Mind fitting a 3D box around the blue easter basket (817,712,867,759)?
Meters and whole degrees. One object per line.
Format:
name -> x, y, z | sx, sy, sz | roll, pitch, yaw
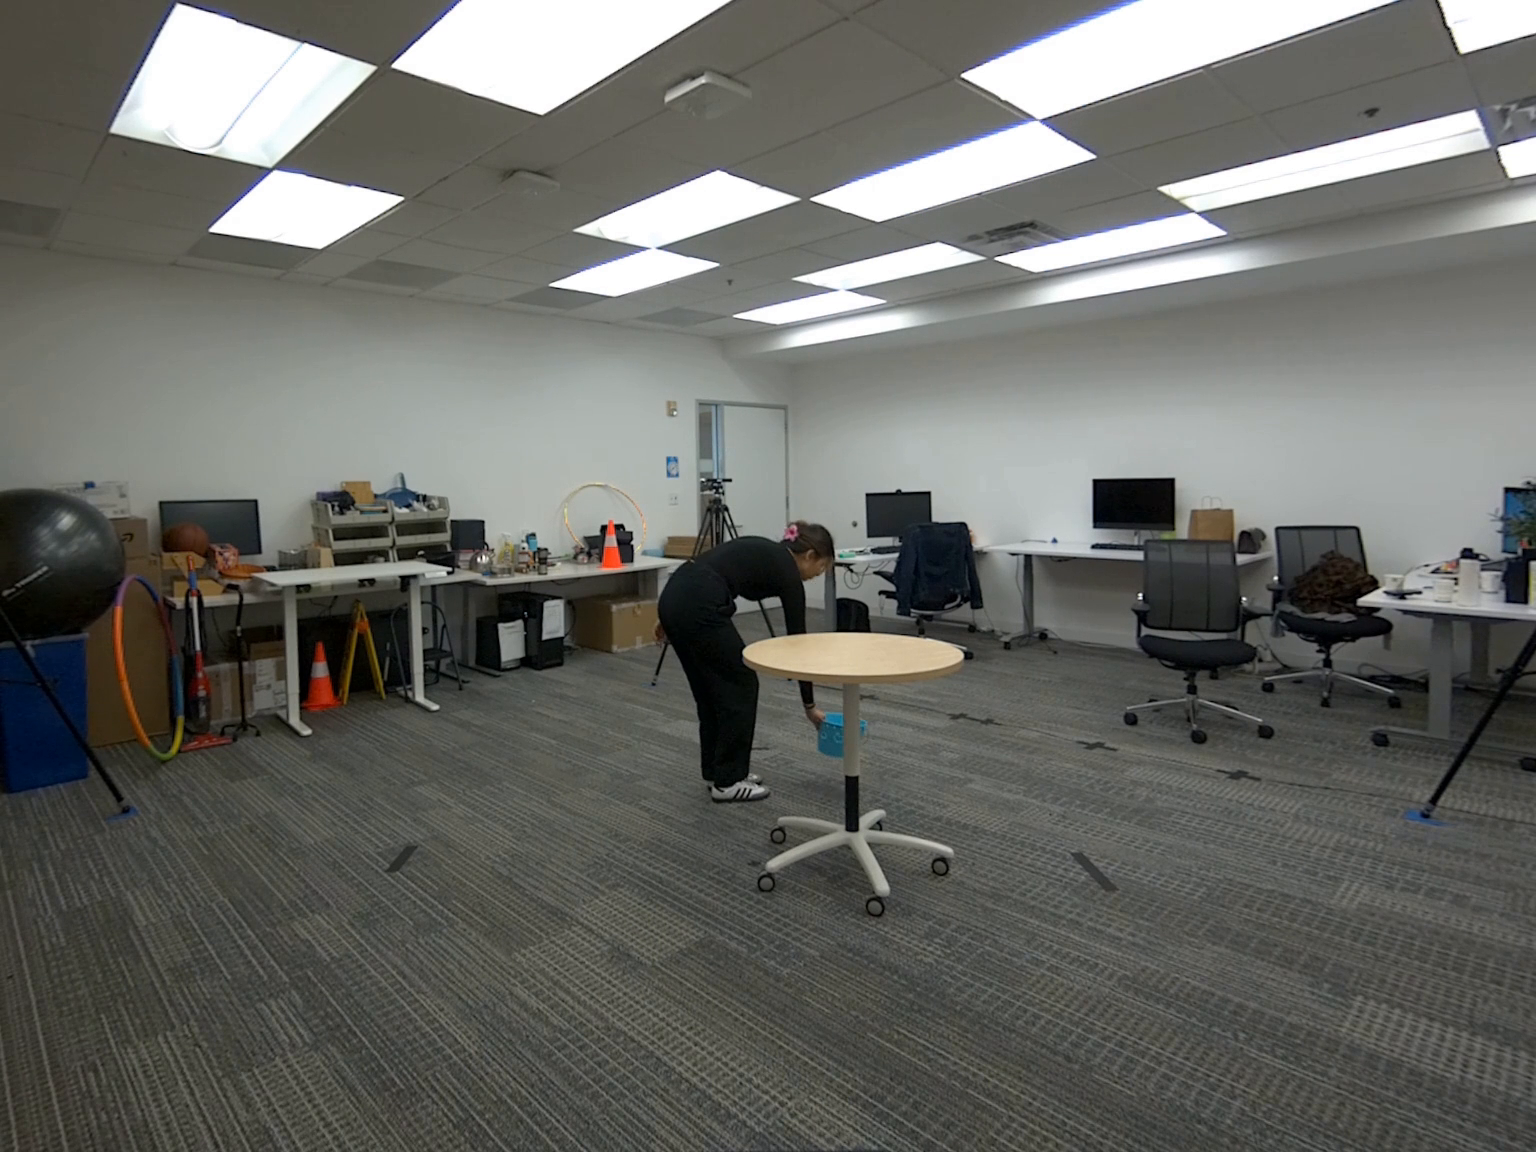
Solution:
blue easter basket -> 0.317, 0.710, 3.838 | 0.243, 0.155, 0.245 | 7, 4, -2
